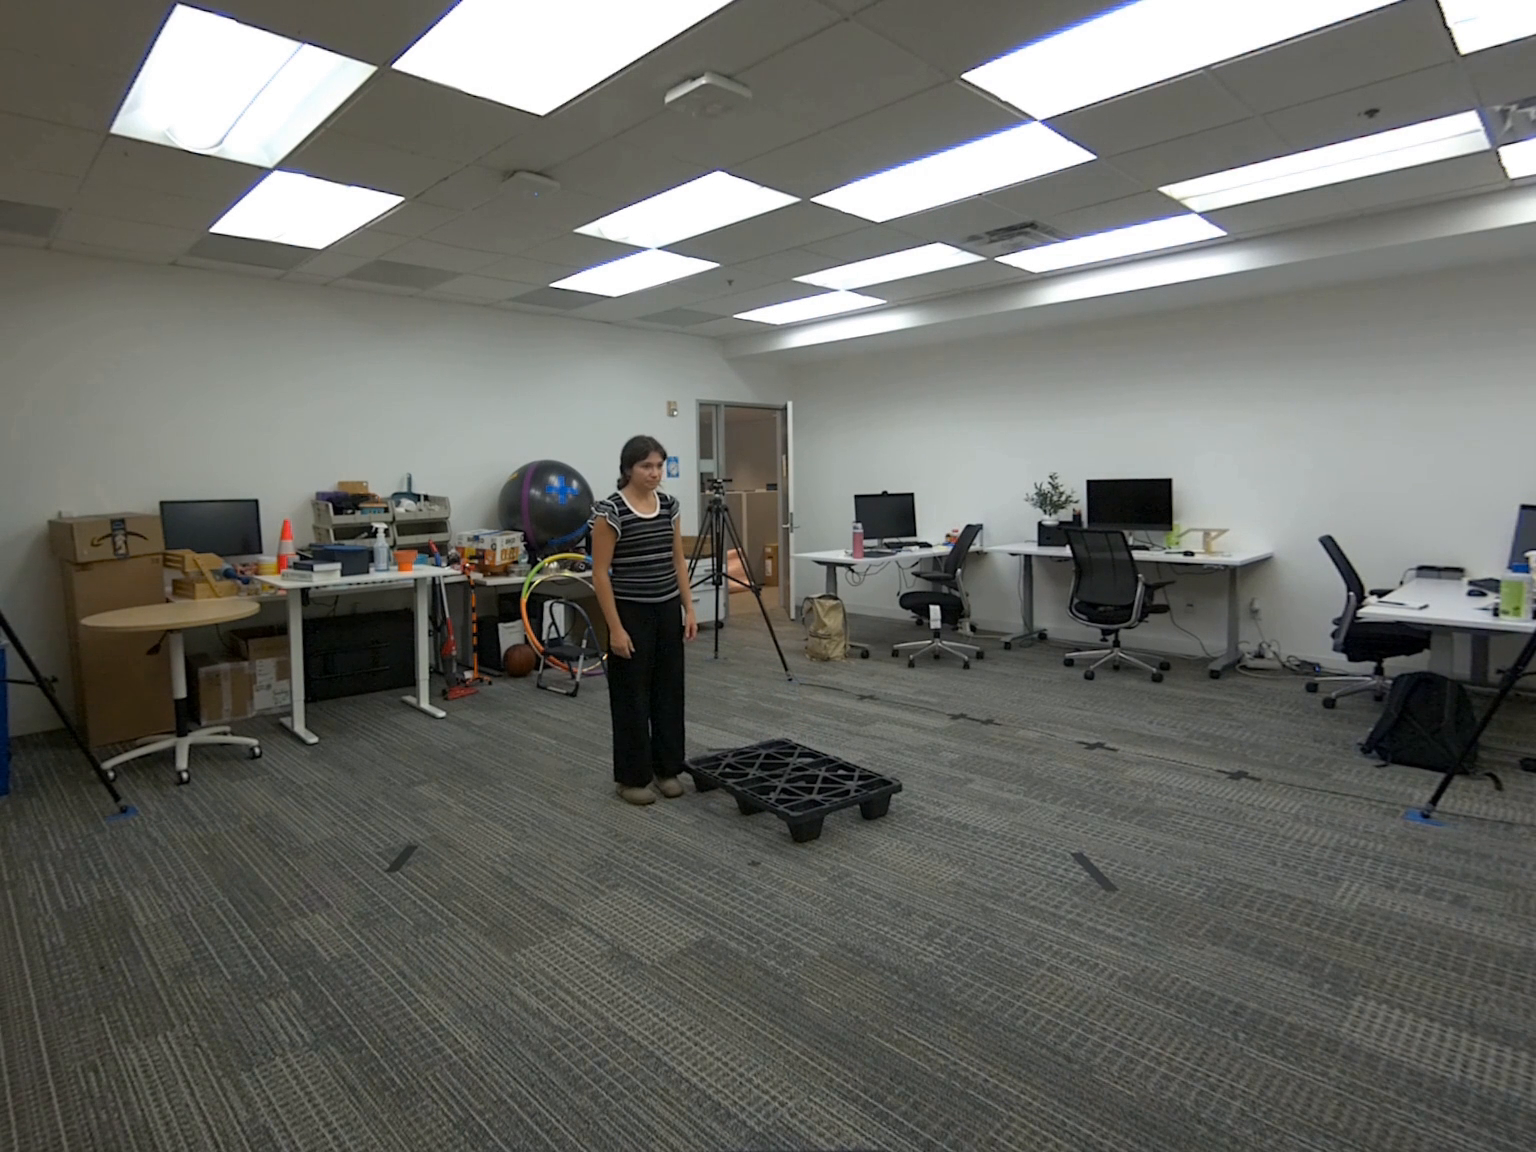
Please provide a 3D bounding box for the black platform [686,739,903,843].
[{"bbox_3d":[0.087,0.910,3.696,0.589,0.143,0.830,-4,7,-37],"label":"black platform"}]
